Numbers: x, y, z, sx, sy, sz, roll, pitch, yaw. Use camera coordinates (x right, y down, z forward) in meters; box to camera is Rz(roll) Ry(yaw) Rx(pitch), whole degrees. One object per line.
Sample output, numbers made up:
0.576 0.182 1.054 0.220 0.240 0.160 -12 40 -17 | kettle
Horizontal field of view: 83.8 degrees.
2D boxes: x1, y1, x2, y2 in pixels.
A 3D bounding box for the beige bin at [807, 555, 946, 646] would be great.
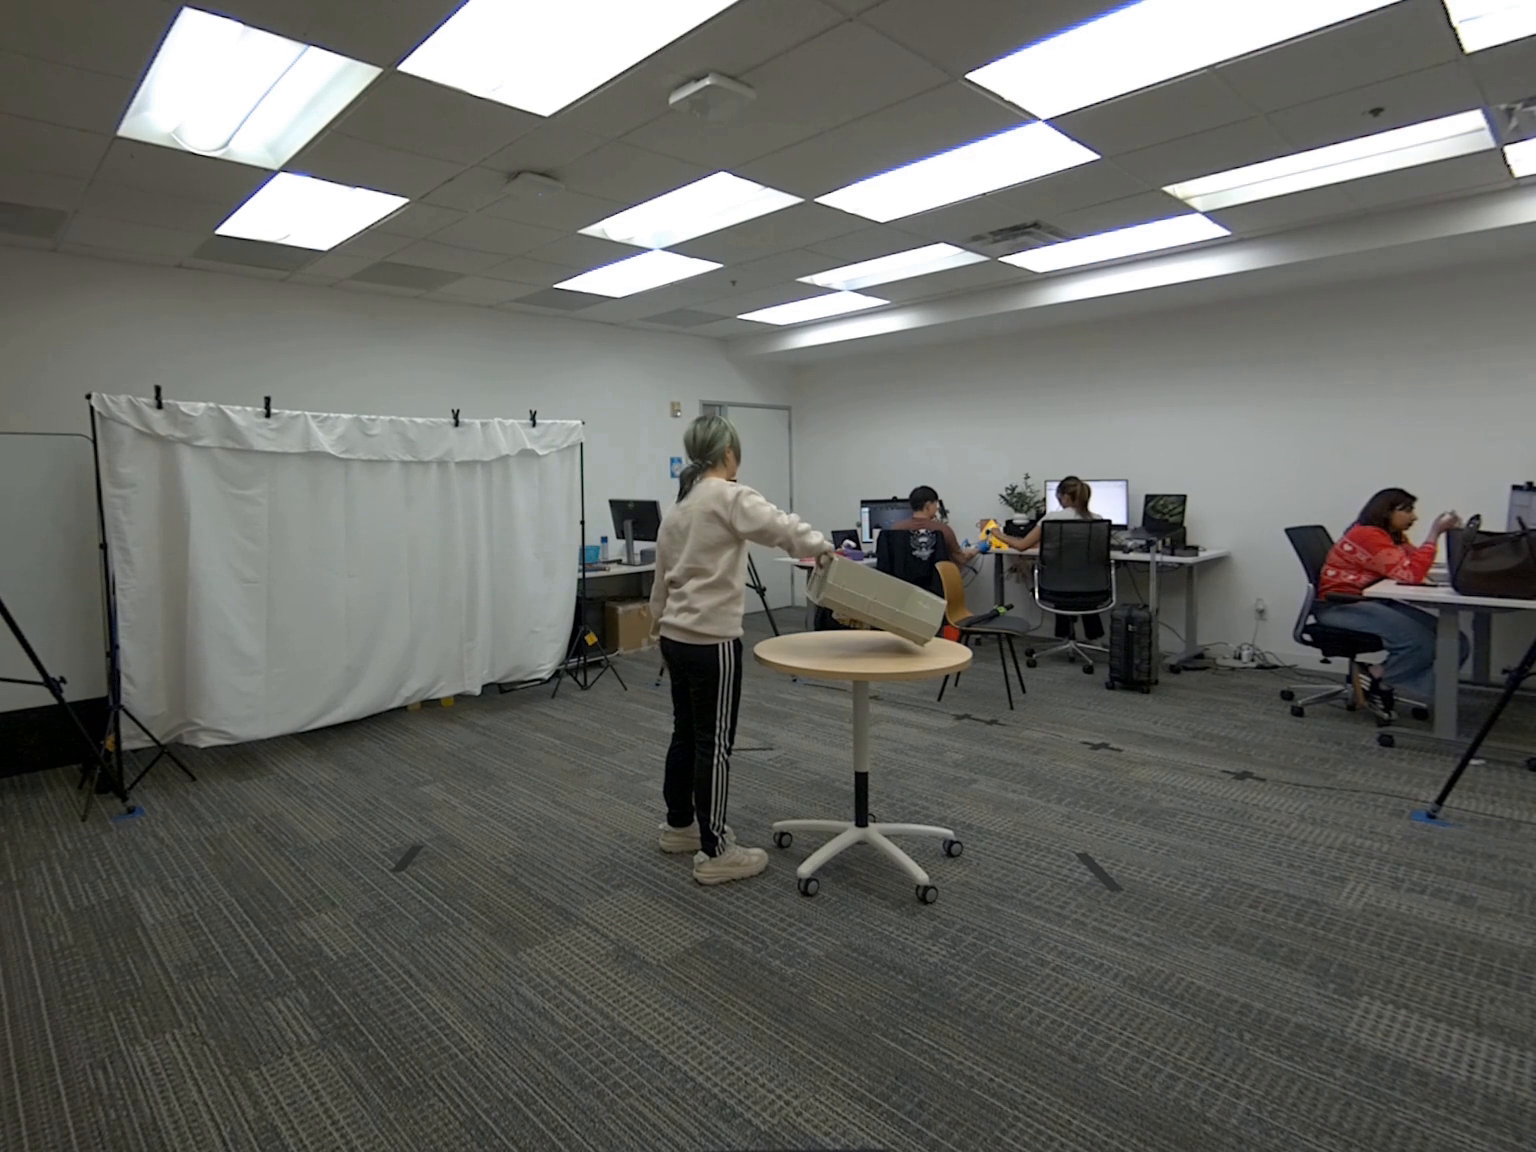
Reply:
0.362 0.075 3.062 0.422 0.188 0.379 22 4 -2 | beige bin
